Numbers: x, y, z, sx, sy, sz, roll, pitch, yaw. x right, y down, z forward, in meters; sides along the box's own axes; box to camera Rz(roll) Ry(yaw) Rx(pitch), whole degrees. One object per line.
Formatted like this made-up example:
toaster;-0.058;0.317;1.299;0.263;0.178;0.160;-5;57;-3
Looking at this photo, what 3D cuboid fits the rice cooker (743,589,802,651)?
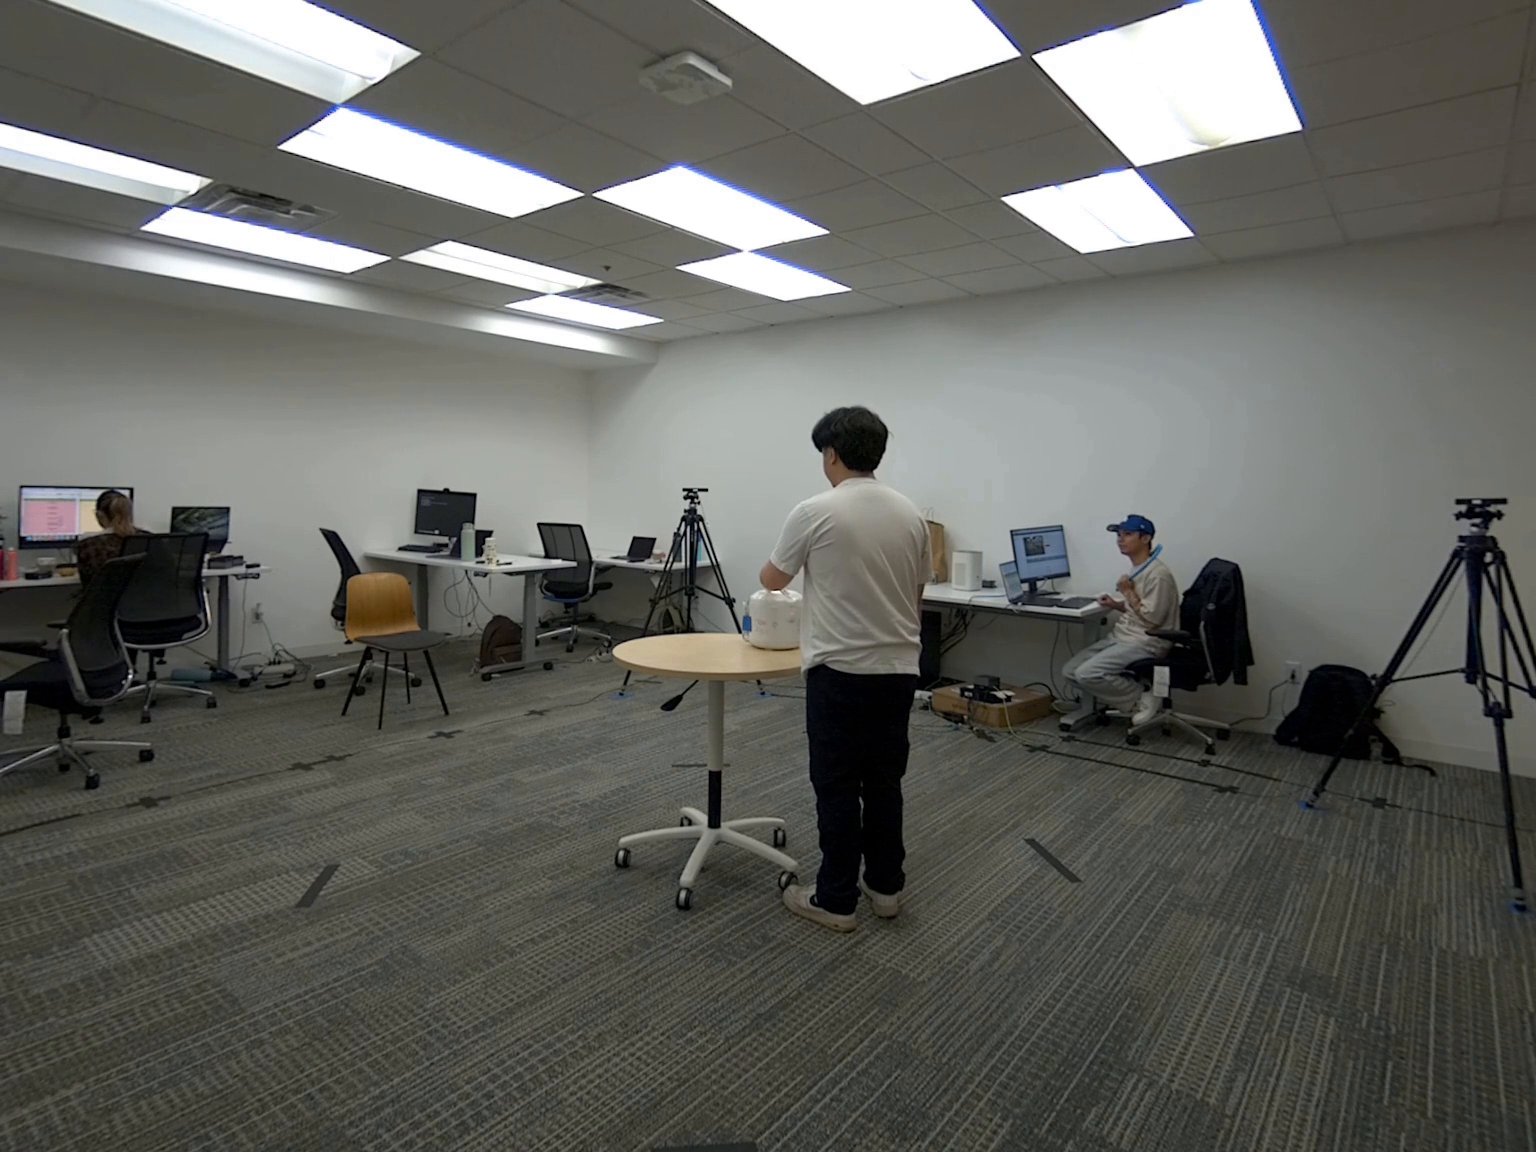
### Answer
rice cooker;0.023;0.148;3.225;0.212;0.232;0.227;-3;6;-28
